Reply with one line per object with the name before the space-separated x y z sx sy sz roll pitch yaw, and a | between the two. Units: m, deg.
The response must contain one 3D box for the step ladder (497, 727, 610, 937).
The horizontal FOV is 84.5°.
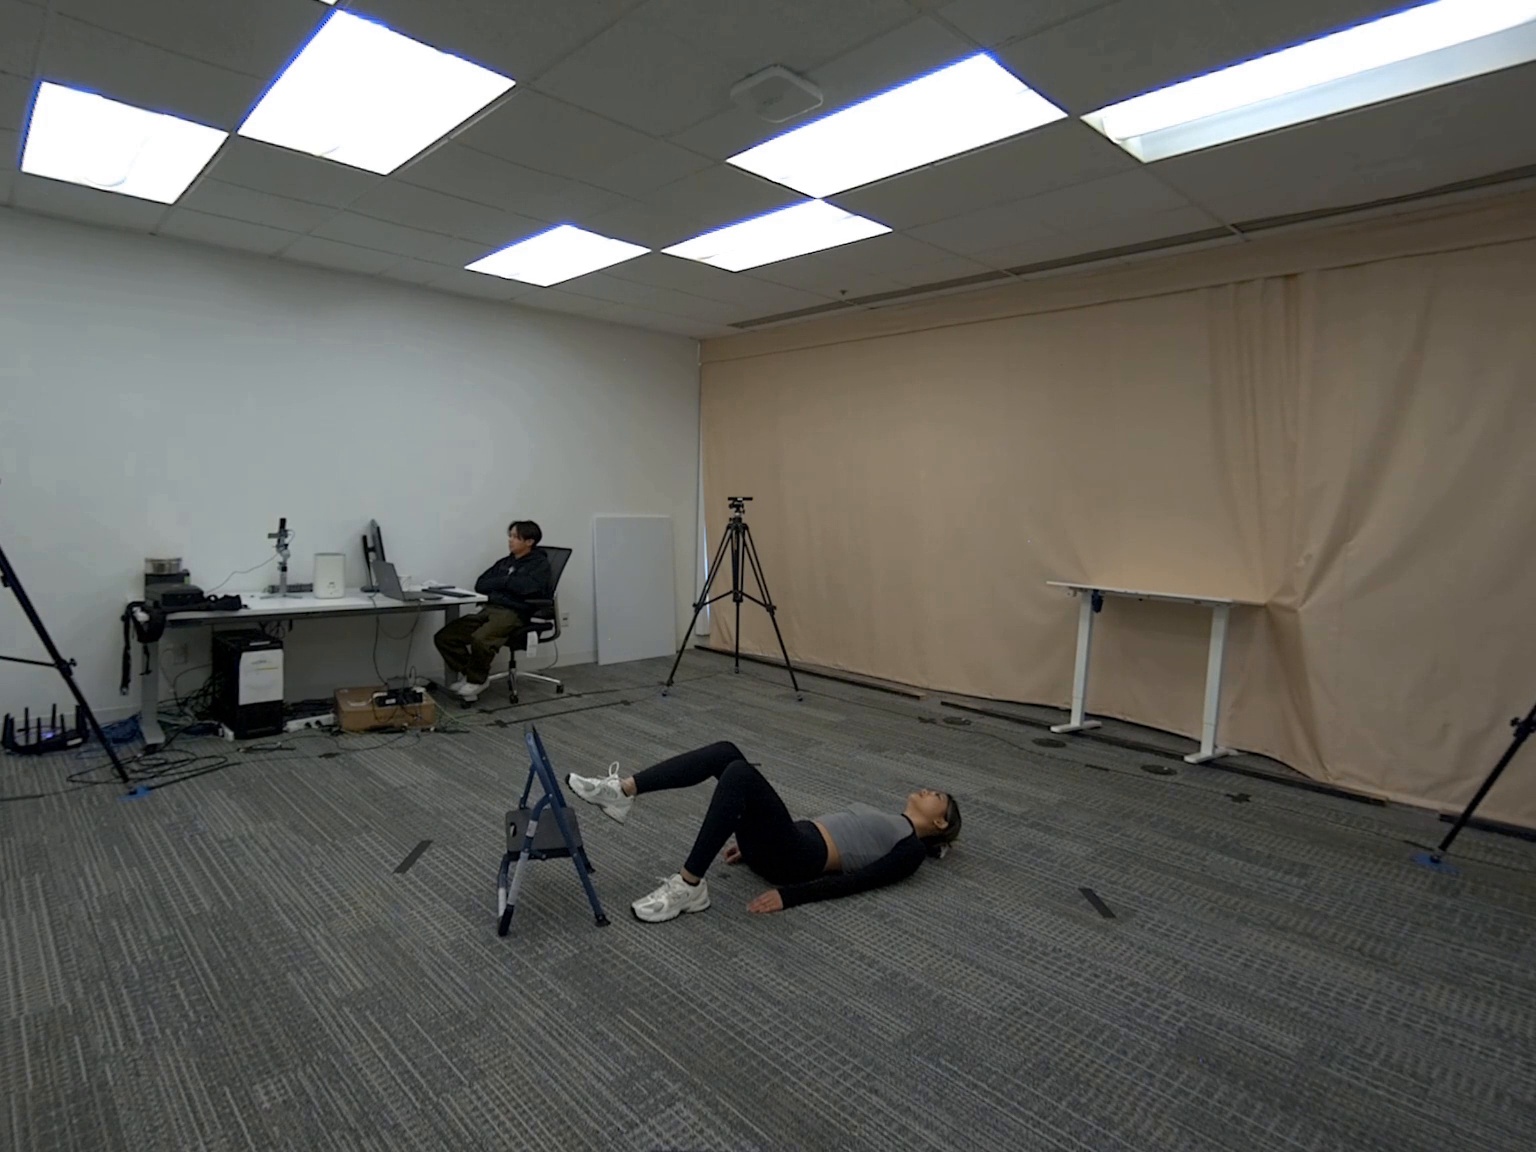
step ladder | -0.743 0.815 2.861 0.344 0.604 0.438 0 4 -19
